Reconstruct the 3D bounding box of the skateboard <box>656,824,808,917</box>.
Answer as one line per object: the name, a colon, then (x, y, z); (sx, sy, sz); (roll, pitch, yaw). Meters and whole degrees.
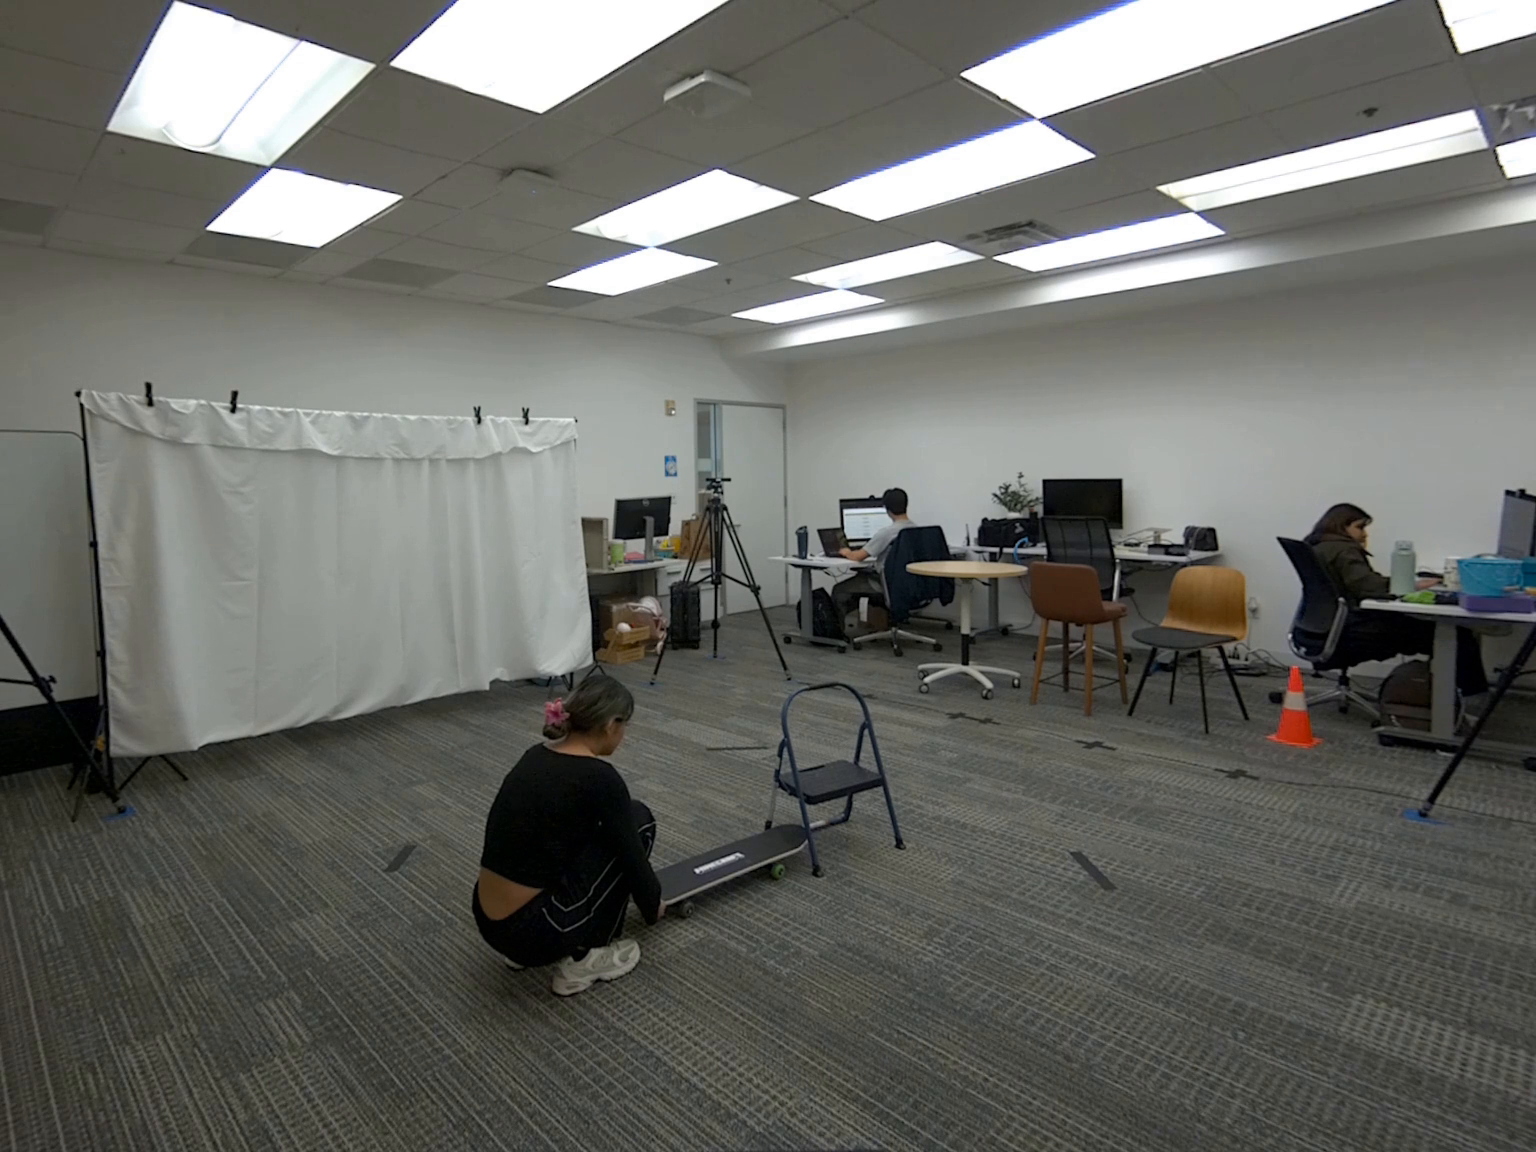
skateboard: (-0.160, 1.009, 2.917); (0.765, 0.110, 0.199); (-7, 8, -40)
